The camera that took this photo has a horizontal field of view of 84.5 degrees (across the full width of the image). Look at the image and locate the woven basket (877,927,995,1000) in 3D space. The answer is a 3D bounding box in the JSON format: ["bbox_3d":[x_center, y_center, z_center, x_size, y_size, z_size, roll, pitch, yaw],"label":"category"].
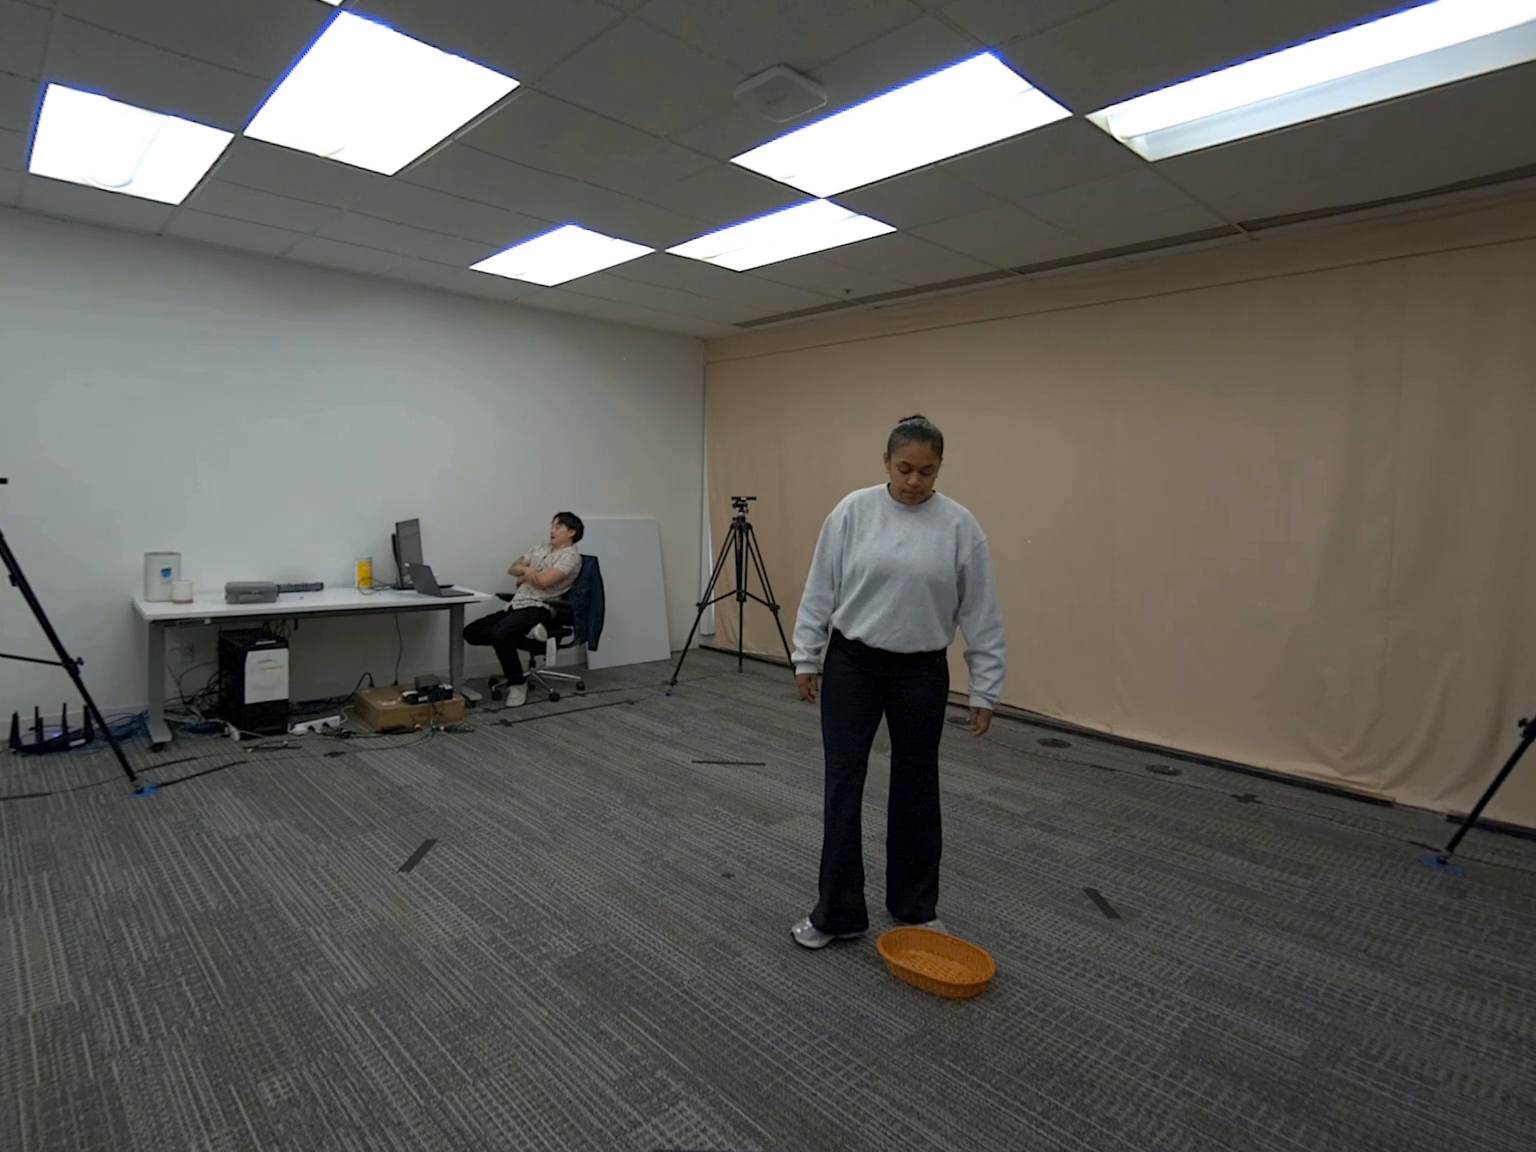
[{"bbox_3d":[0.476,1.138,2.486,0.359,0.073,0.247,5,7,40],"label":"woven basket"}]
